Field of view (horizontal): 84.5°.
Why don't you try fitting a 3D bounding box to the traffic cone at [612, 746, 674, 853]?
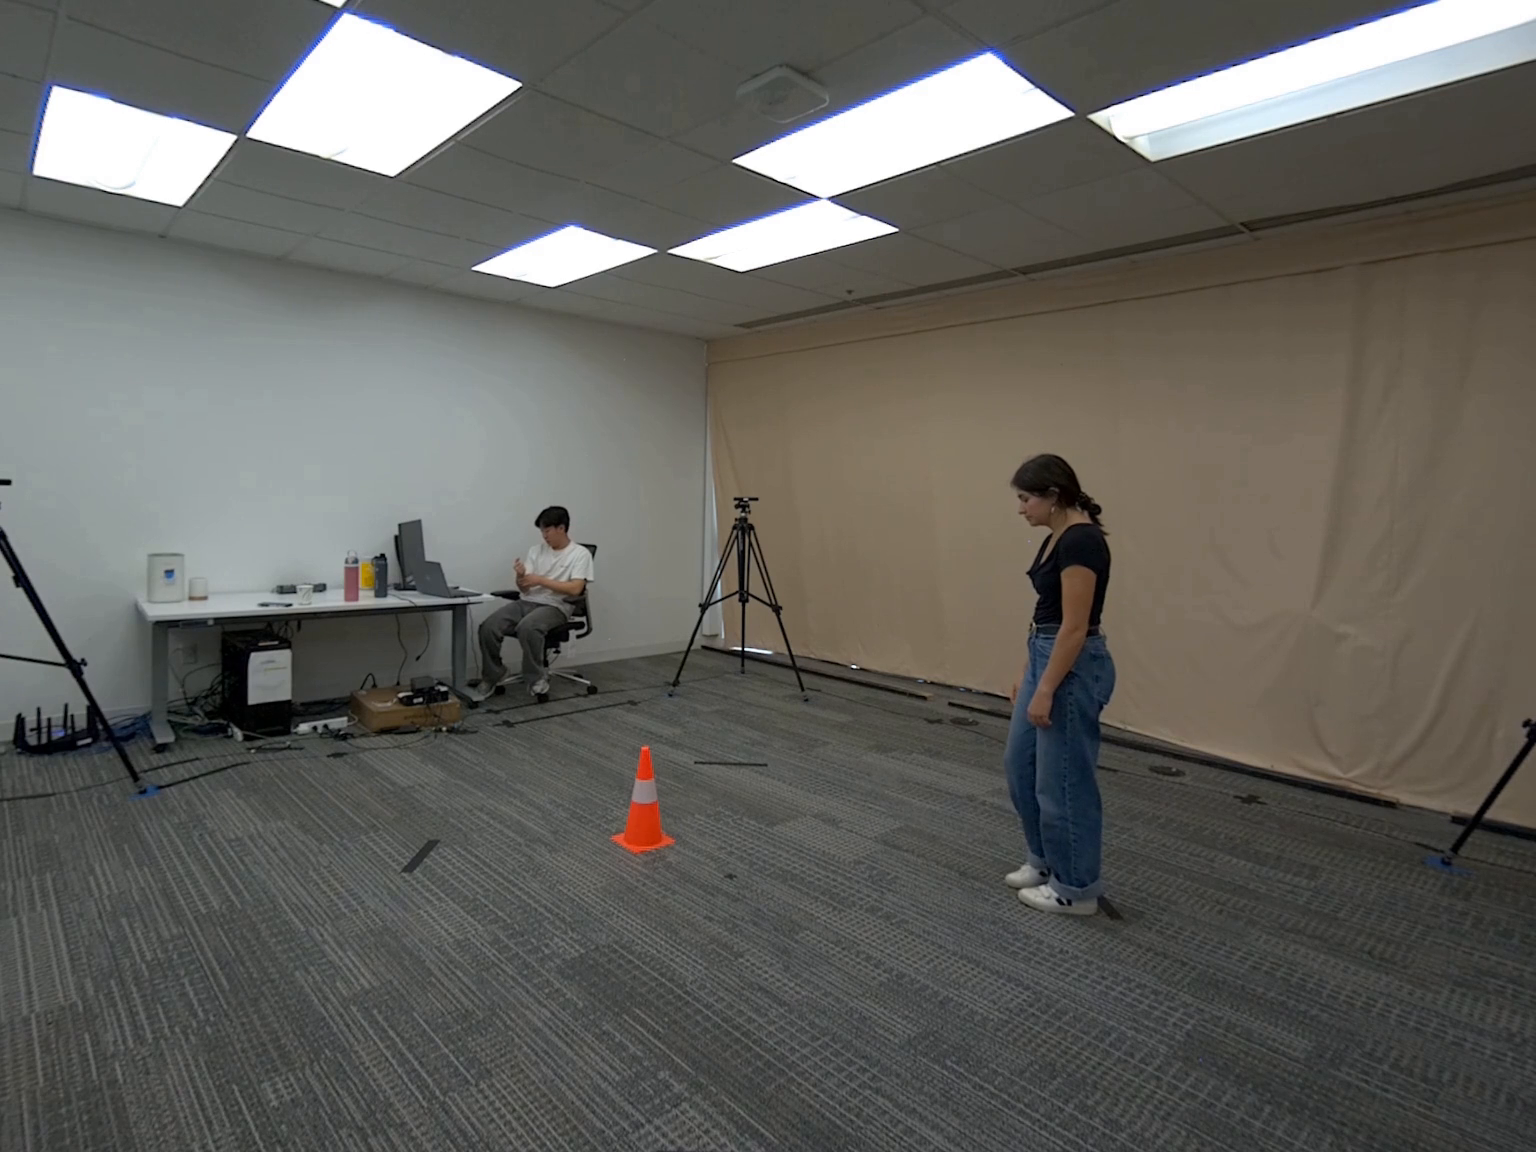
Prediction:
[{"bbox_3d":[-0.501,0.883,3.406,0.199,0.382,0.210,-1,5,-40],"label":"traffic cone"}]
